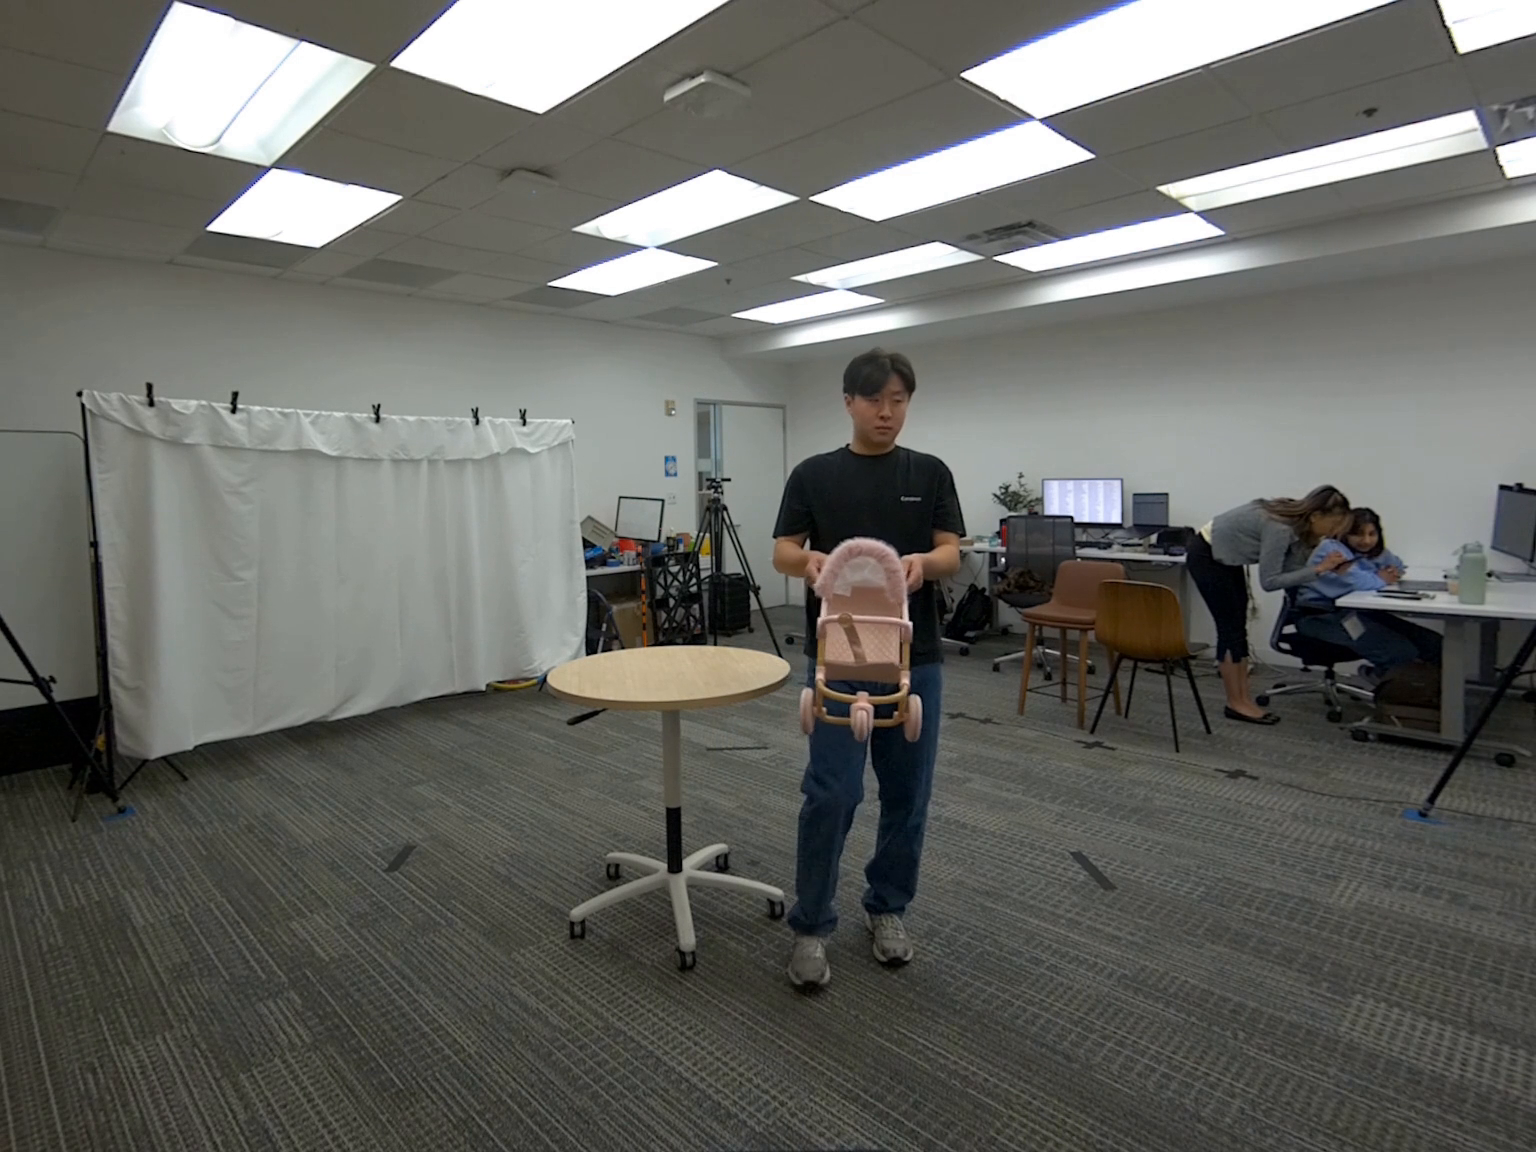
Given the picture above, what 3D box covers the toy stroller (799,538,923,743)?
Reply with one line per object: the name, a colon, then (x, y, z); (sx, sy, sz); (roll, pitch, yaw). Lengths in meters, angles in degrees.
toy stroller: (0.226, 0.153, 1.995); (0.285, 0.545, 0.331); (0, -25, 10)
